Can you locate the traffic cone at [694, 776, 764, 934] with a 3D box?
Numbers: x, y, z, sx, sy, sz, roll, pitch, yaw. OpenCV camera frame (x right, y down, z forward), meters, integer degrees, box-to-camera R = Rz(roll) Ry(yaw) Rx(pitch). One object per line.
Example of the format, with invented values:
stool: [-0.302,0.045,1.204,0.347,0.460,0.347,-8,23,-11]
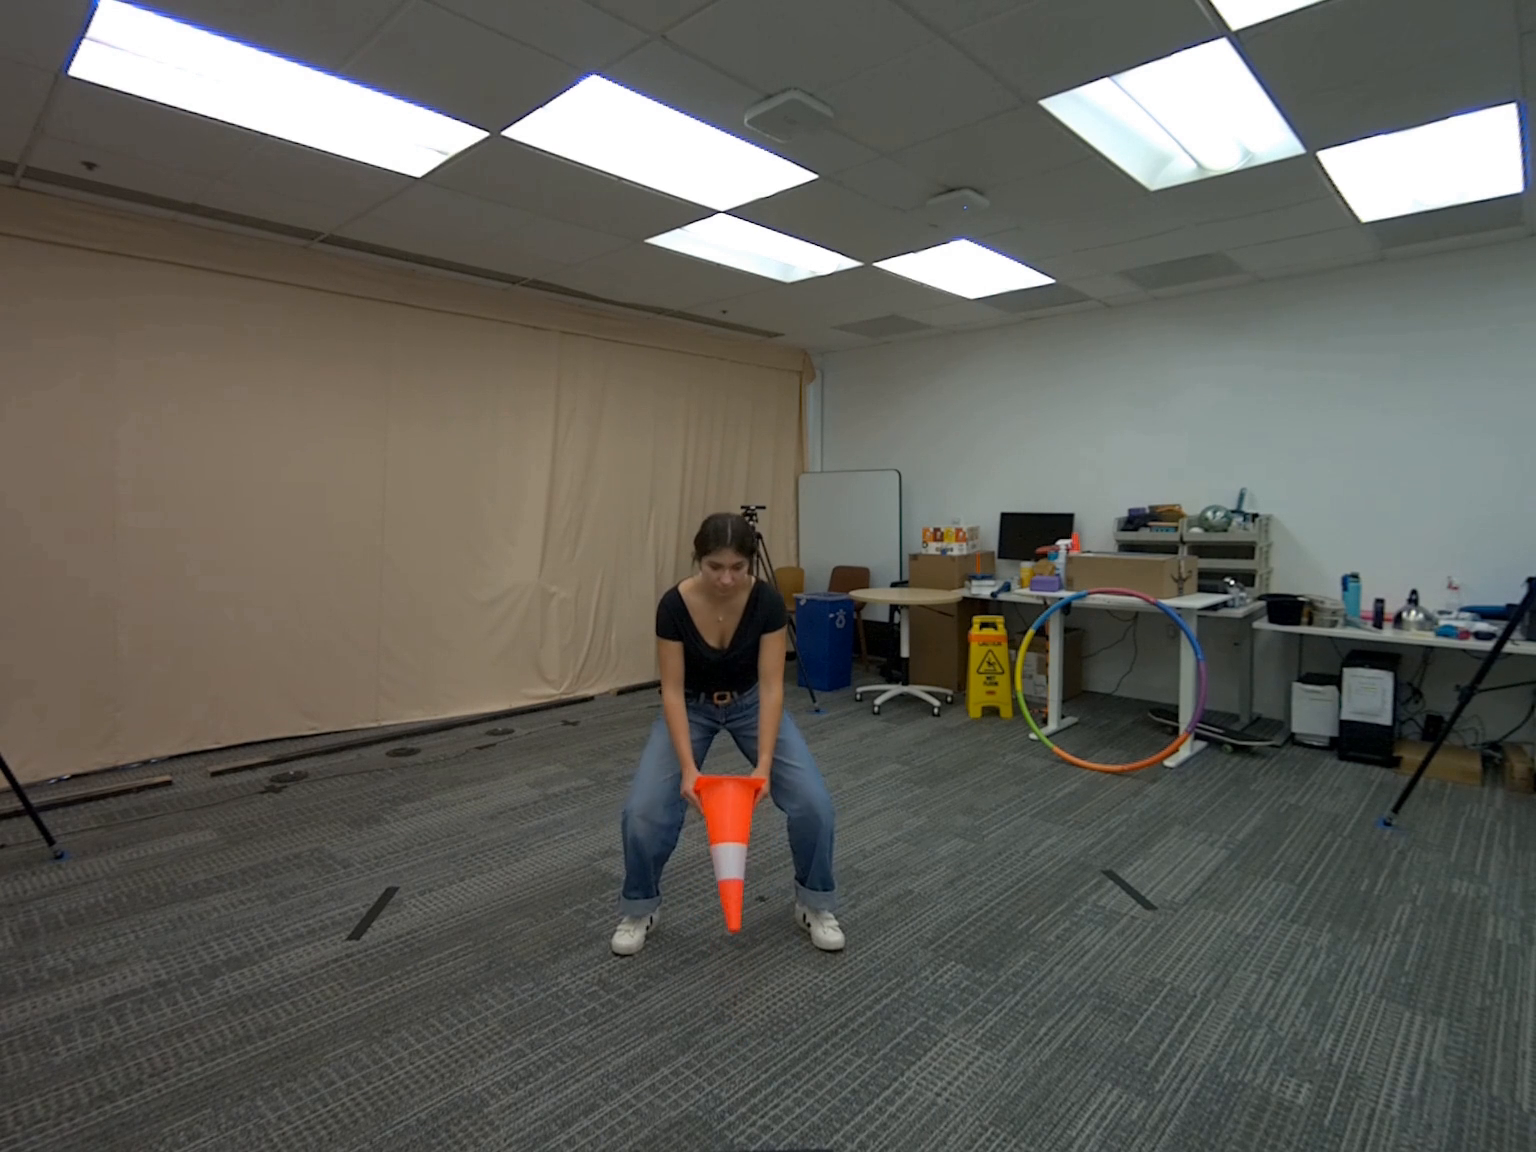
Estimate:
traffic cone: [-0.094,0.770,2.299,0.200,0.391,0.204,5,-35,-17]
